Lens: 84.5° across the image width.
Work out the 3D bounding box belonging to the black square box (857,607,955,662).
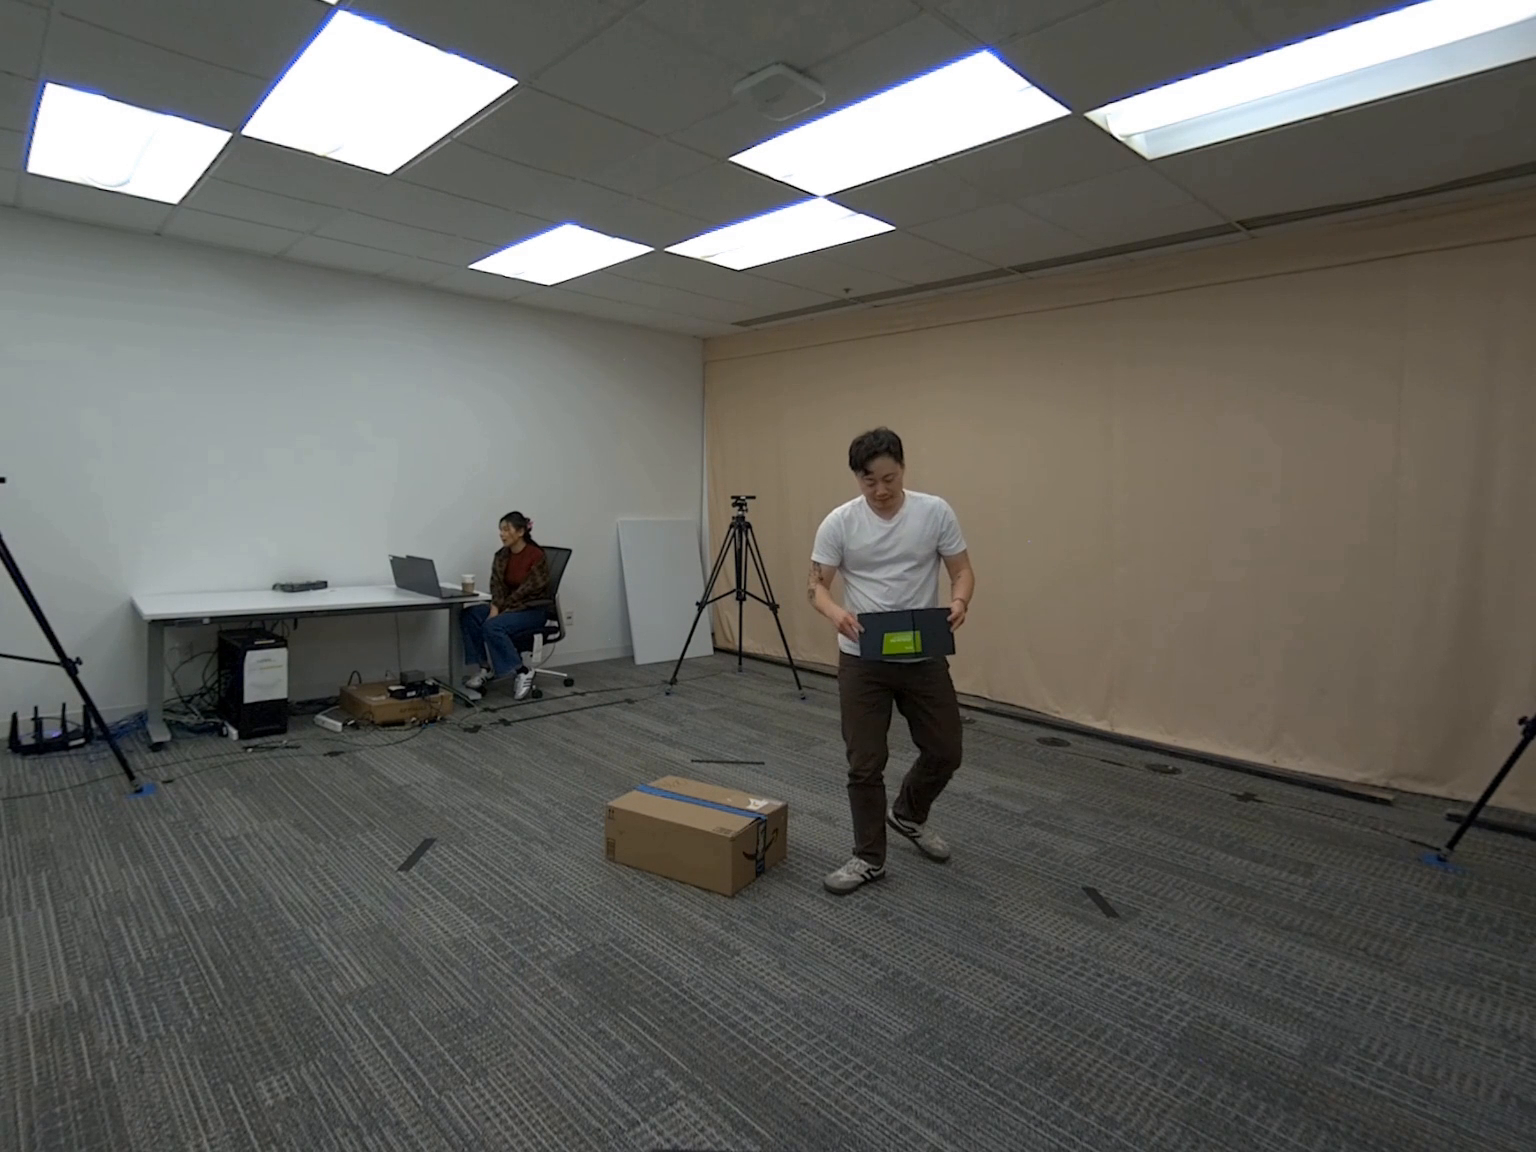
[{"bbox_3d":[0.439,0.188,2.750,0.212,0.156,0.232,0,-5,-42],"label":"black square box"}]
